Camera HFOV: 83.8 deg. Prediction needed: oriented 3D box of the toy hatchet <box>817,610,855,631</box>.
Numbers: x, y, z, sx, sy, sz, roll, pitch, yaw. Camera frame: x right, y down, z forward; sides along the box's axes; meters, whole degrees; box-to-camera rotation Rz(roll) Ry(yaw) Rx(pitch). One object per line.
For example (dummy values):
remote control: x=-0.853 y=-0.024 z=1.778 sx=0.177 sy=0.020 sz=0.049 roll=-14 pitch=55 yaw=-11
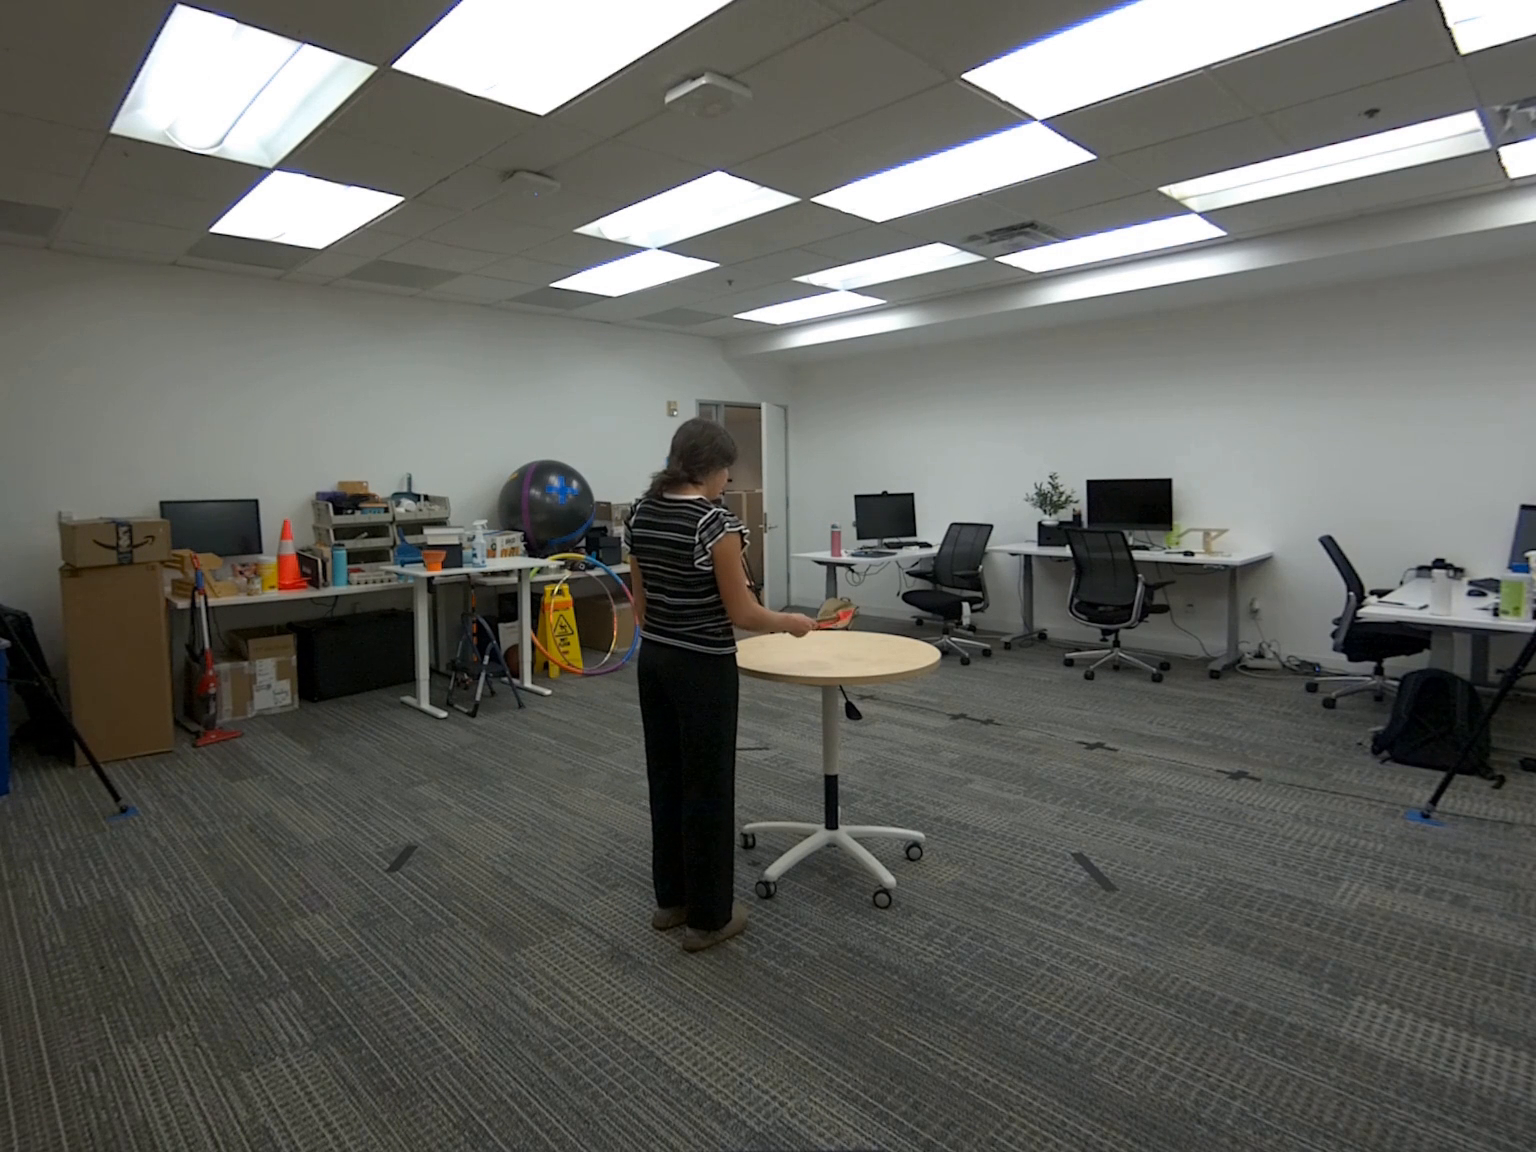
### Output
toy hatchet: x=0.159 y=0.160 z=2.810 sx=0.266 sy=0.030 sz=0.130 roll=-15 pitch=-16 yaw=-22
